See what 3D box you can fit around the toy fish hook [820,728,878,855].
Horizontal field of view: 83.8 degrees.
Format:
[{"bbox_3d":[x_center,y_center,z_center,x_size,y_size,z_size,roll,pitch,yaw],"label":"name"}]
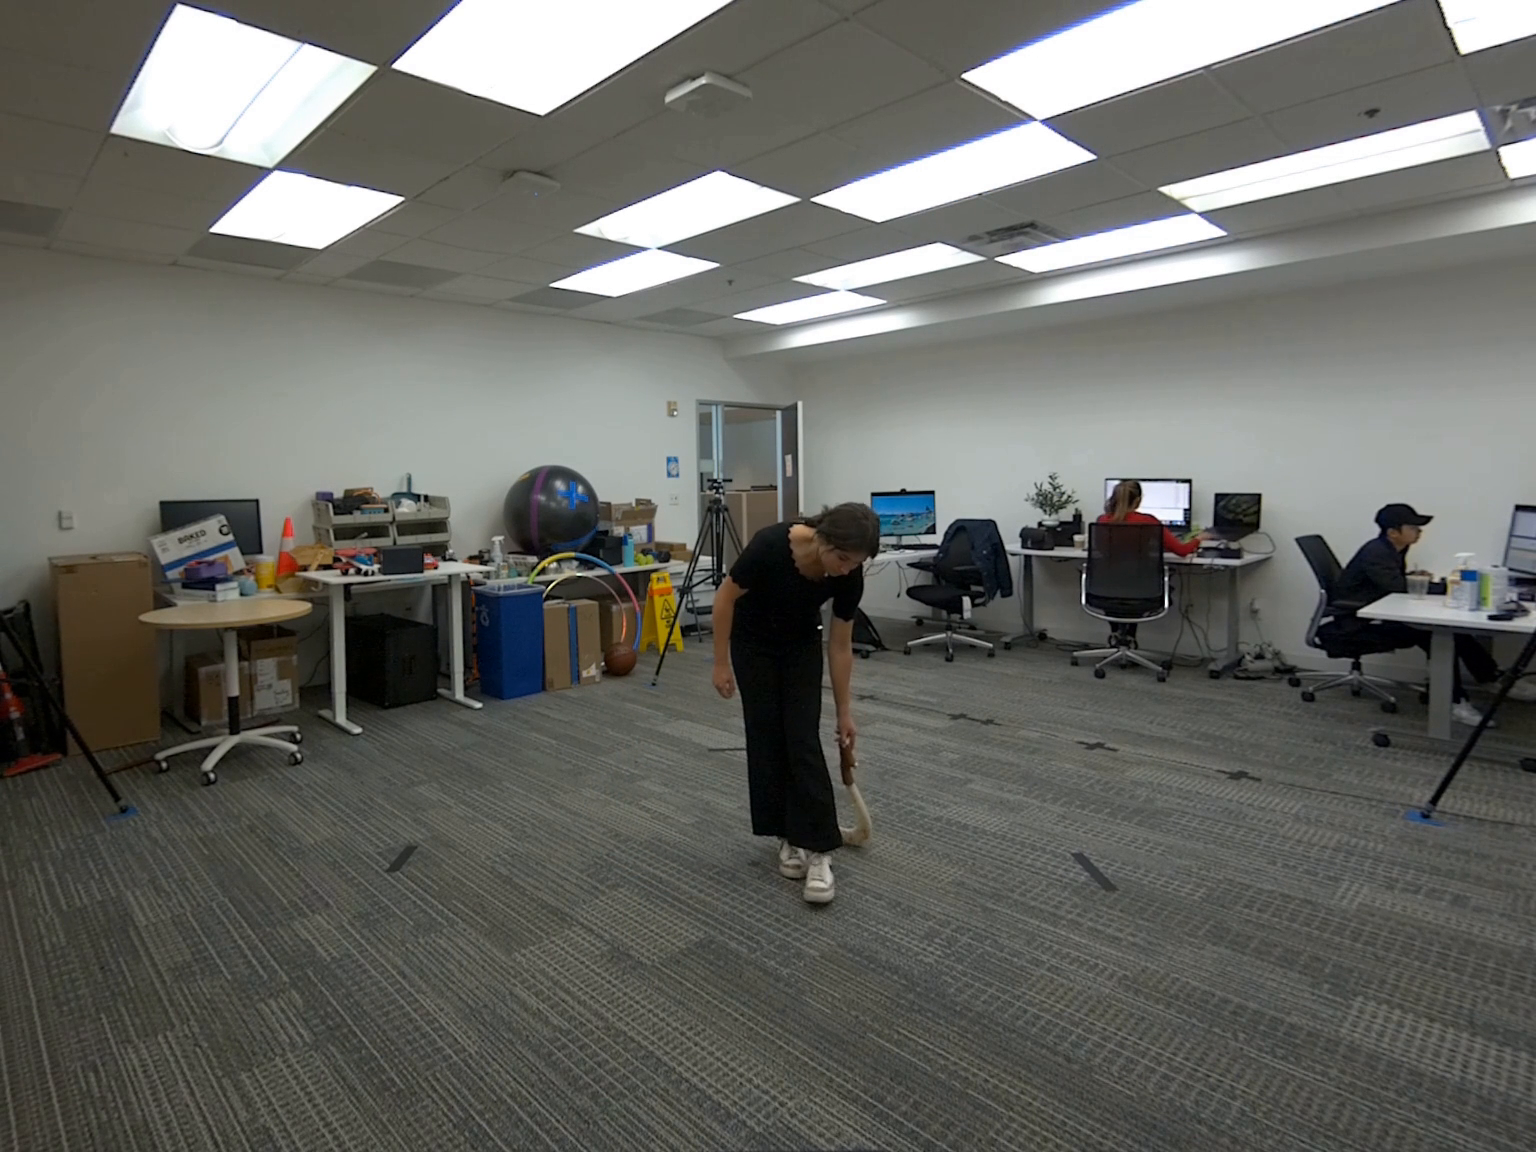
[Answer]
[{"bbox_3d":[0.265,0.794,3.172,0.230,0.495,0.048,3,25,27],"label":"toy fish hook"}]
